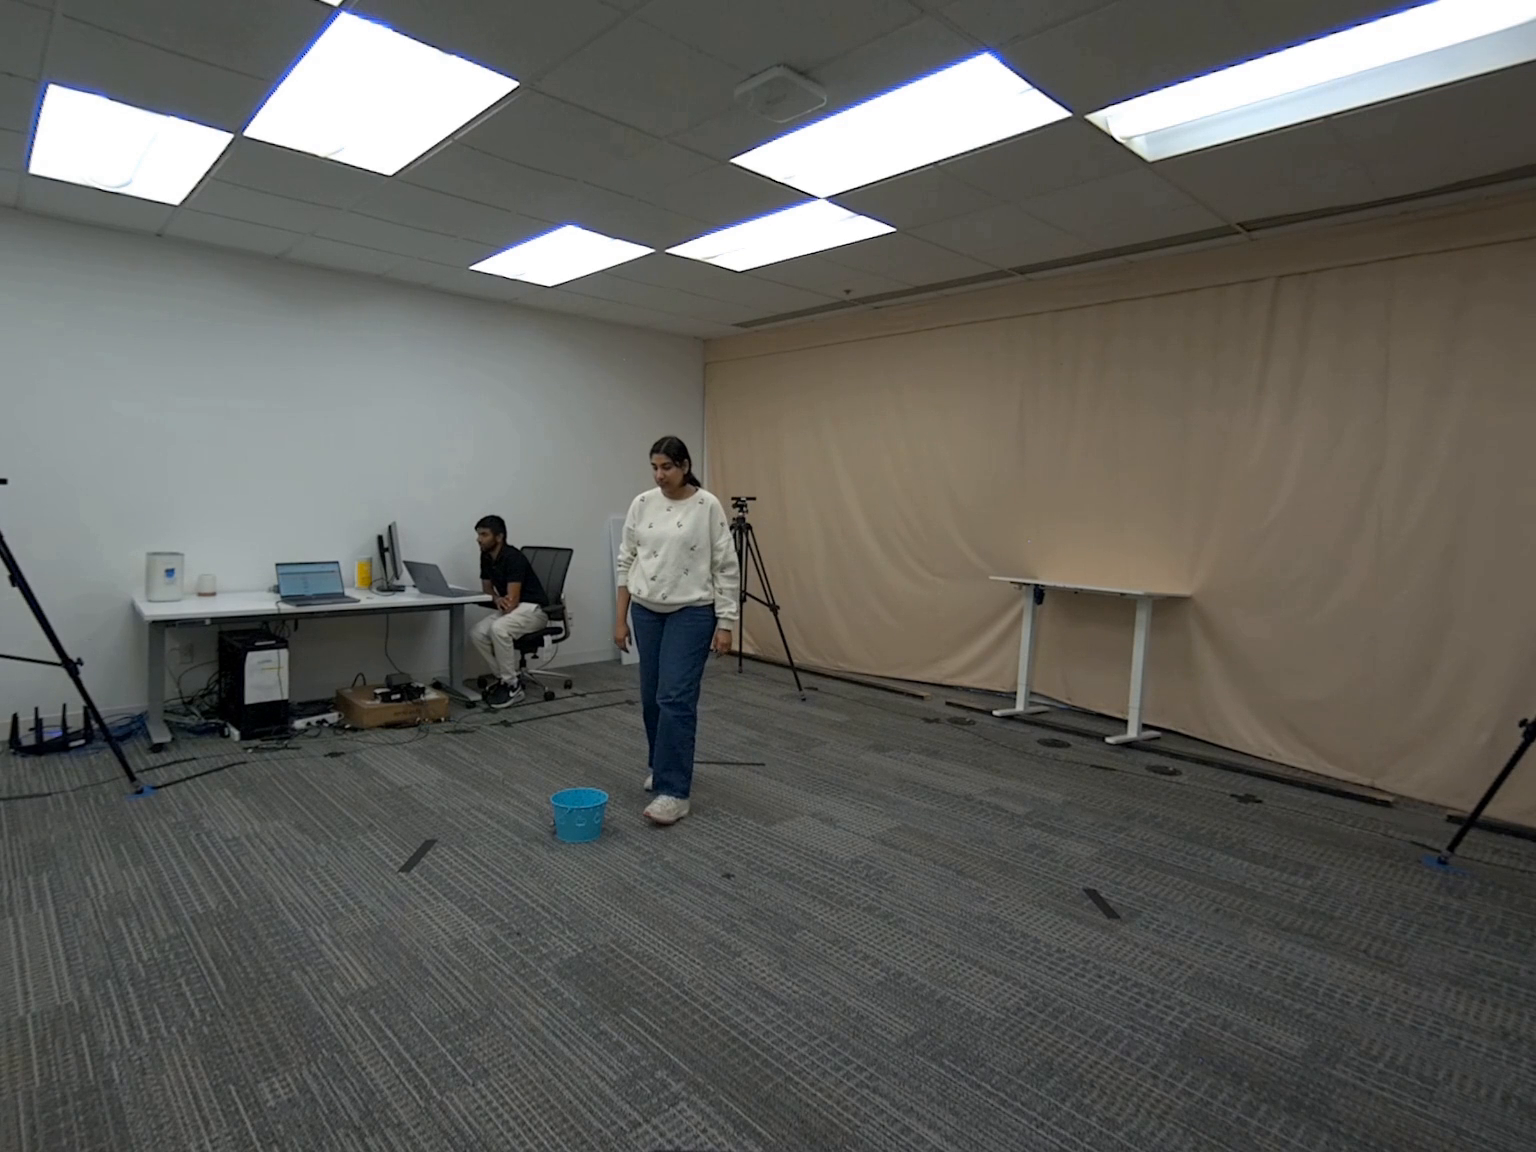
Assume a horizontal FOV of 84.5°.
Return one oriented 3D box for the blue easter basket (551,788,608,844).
[{"bbox_3d":[-0.783,0.982,3.462,0.243,0.155,0.244,2,4,-1],"label":"blue easter basket"}]
